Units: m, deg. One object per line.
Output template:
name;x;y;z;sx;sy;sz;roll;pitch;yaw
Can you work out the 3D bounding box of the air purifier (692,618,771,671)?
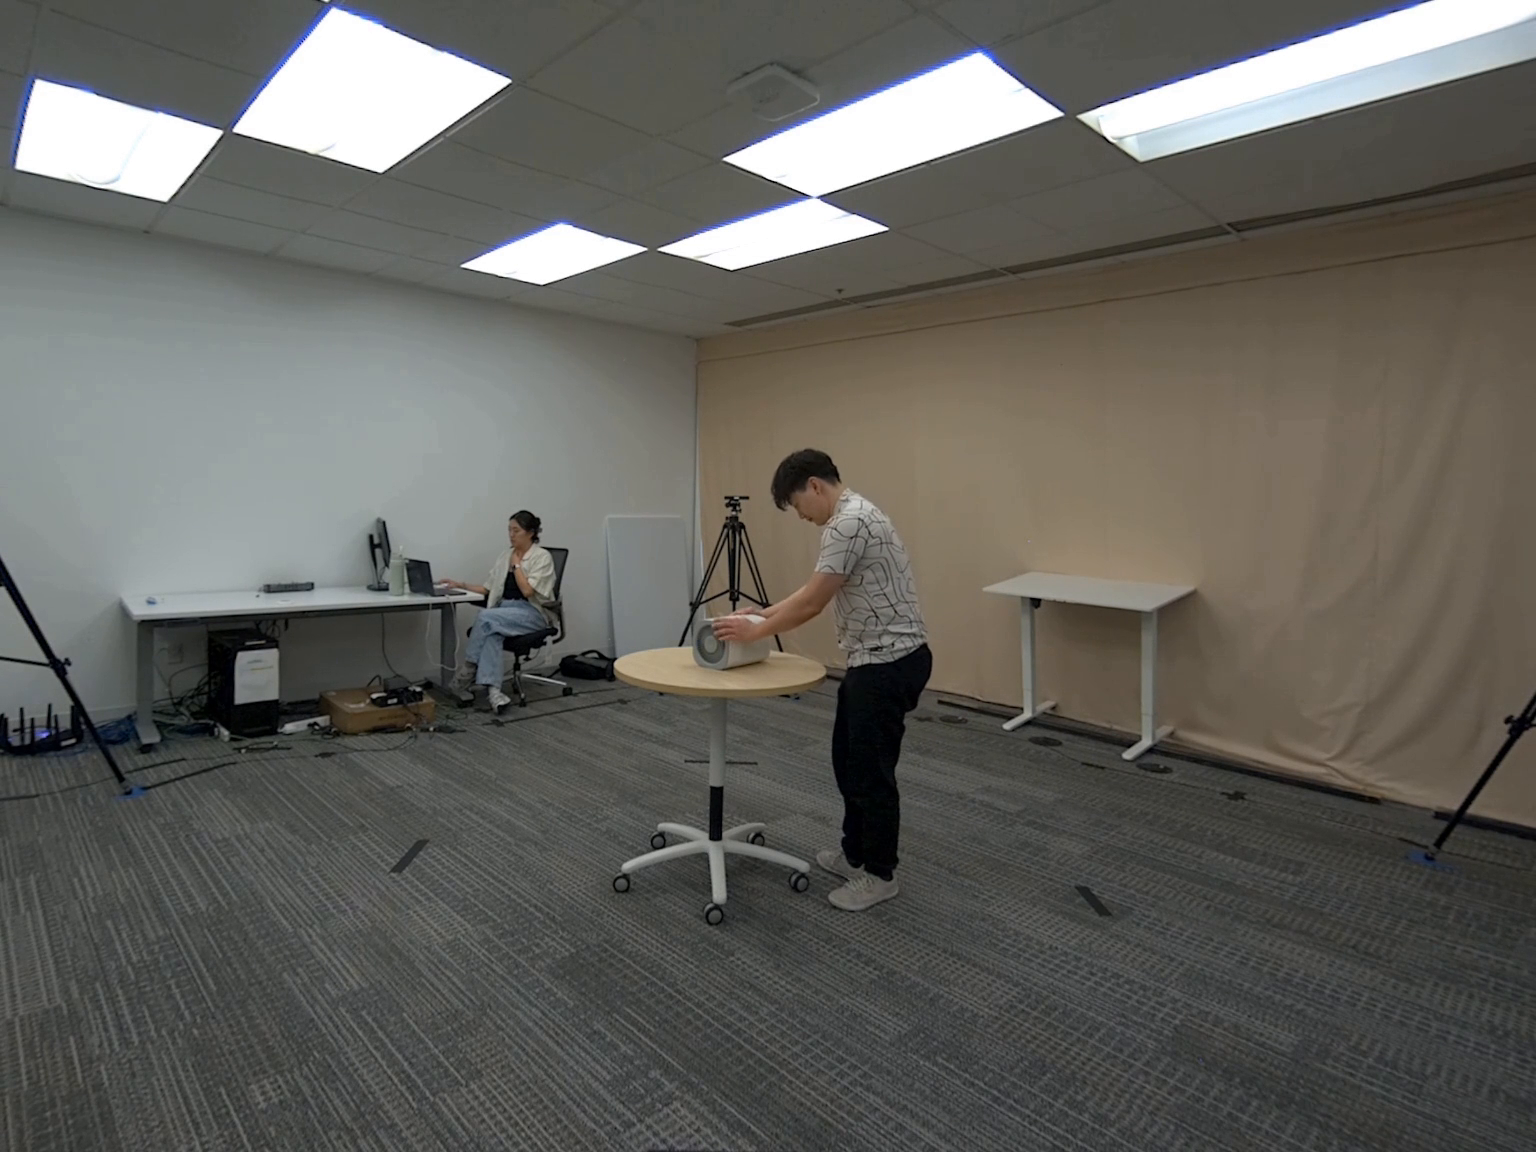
air purifier;-0.129;0.233;3.082;0.175;0.171;0.259;8;8;39
